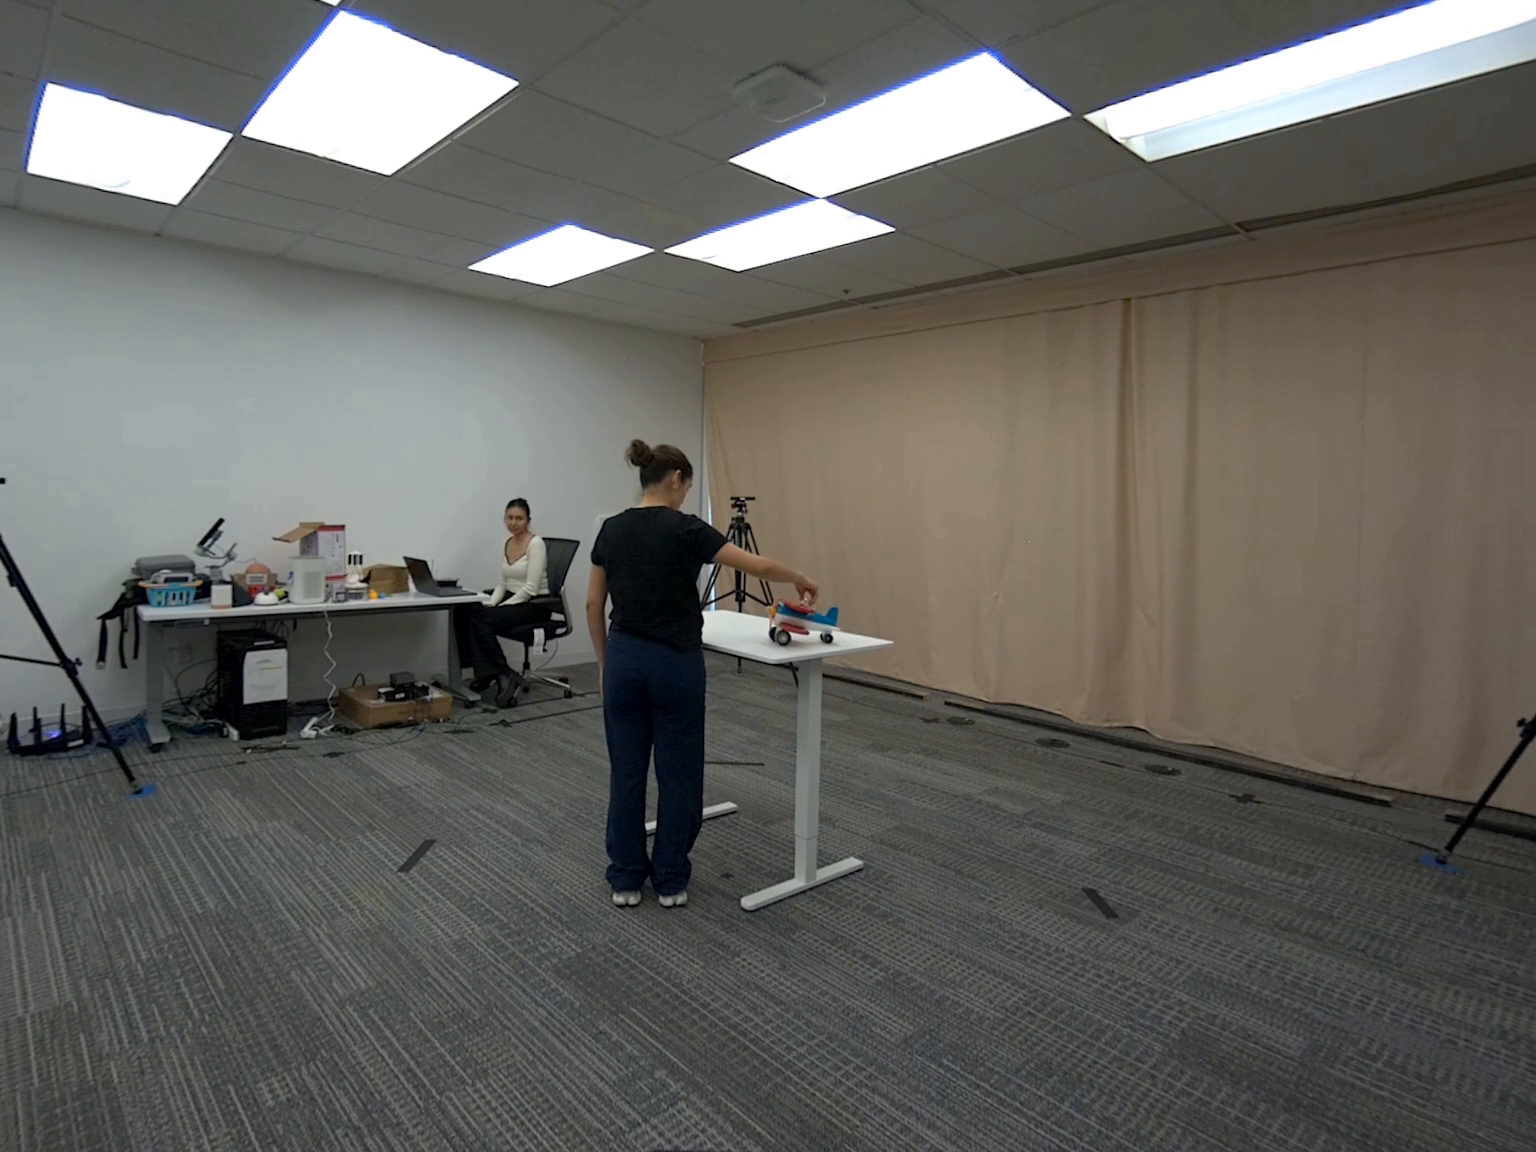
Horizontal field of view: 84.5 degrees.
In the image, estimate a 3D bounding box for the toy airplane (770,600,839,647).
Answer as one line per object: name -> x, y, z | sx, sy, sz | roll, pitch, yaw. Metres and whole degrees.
toy airplane -> 0.116, 0.163, 3.012 | 0.253, 0.156, 0.257 | -4, 7, -43
